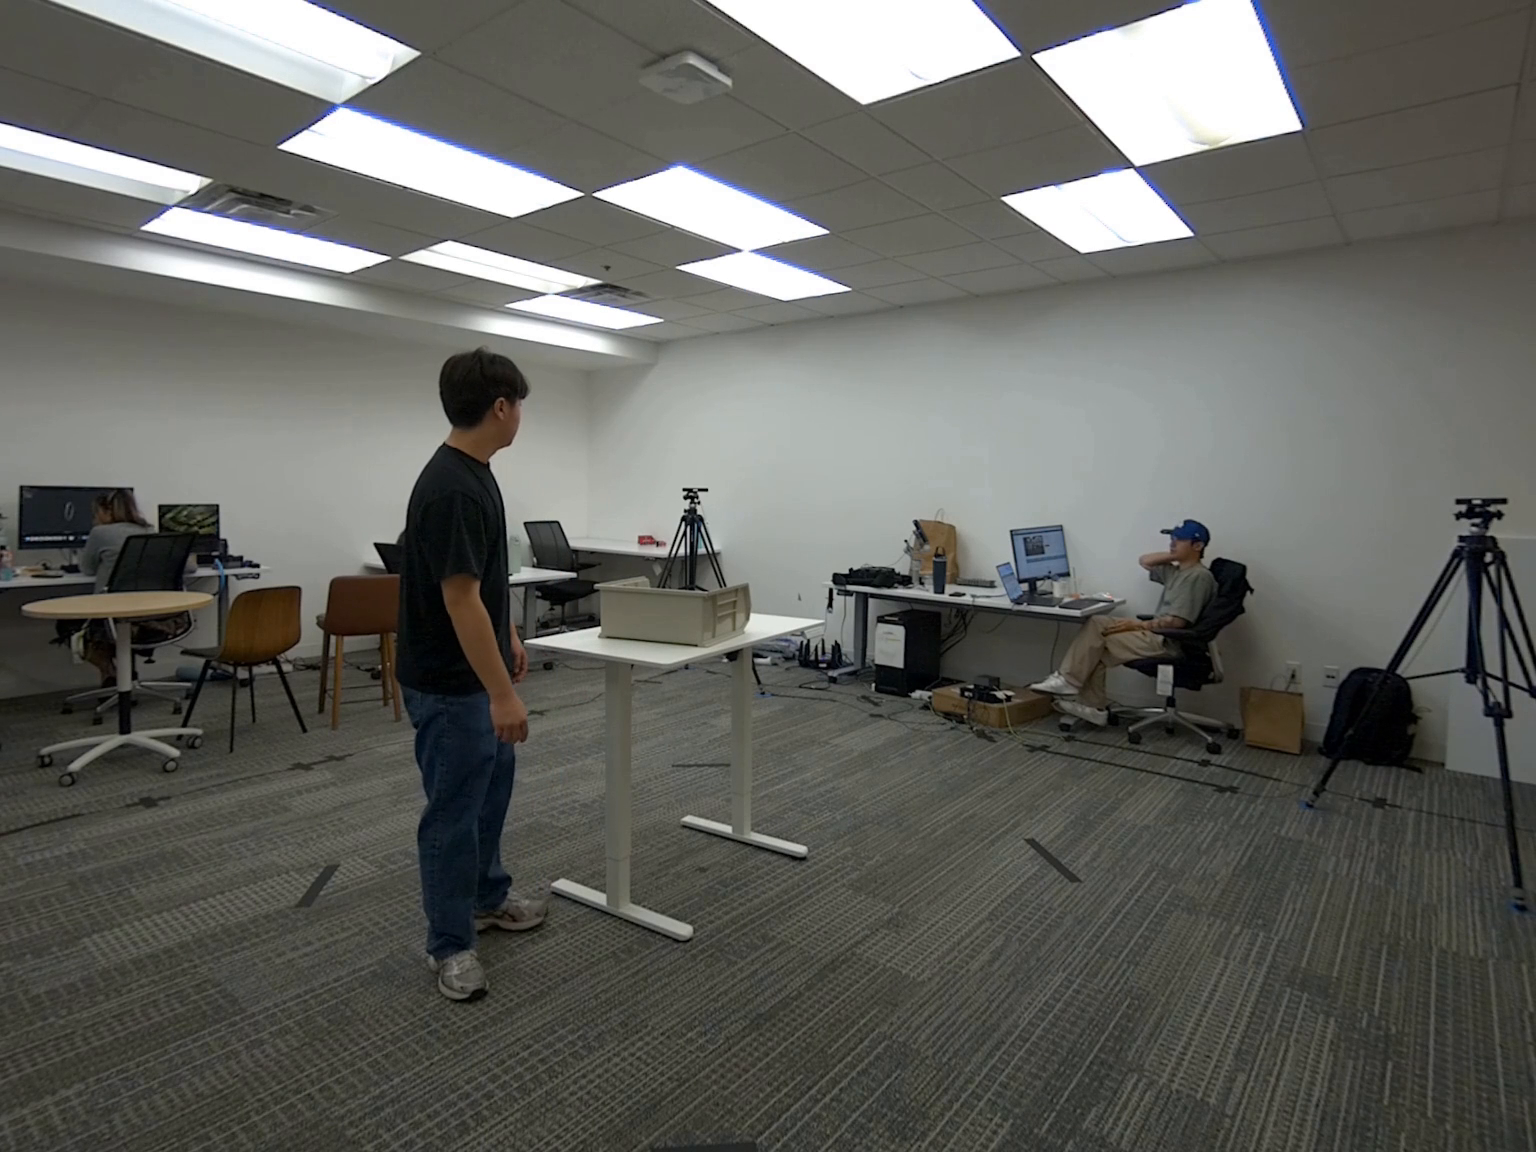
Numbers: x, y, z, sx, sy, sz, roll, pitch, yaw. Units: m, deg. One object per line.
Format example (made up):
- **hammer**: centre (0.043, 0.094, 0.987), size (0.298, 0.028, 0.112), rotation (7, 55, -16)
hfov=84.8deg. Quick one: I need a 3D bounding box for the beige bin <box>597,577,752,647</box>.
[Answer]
- **beige bin**: centre (-0.333, 0.116, 2.938), size (0.433, 0.188, 0.370), rotation (3, 7, 24)
